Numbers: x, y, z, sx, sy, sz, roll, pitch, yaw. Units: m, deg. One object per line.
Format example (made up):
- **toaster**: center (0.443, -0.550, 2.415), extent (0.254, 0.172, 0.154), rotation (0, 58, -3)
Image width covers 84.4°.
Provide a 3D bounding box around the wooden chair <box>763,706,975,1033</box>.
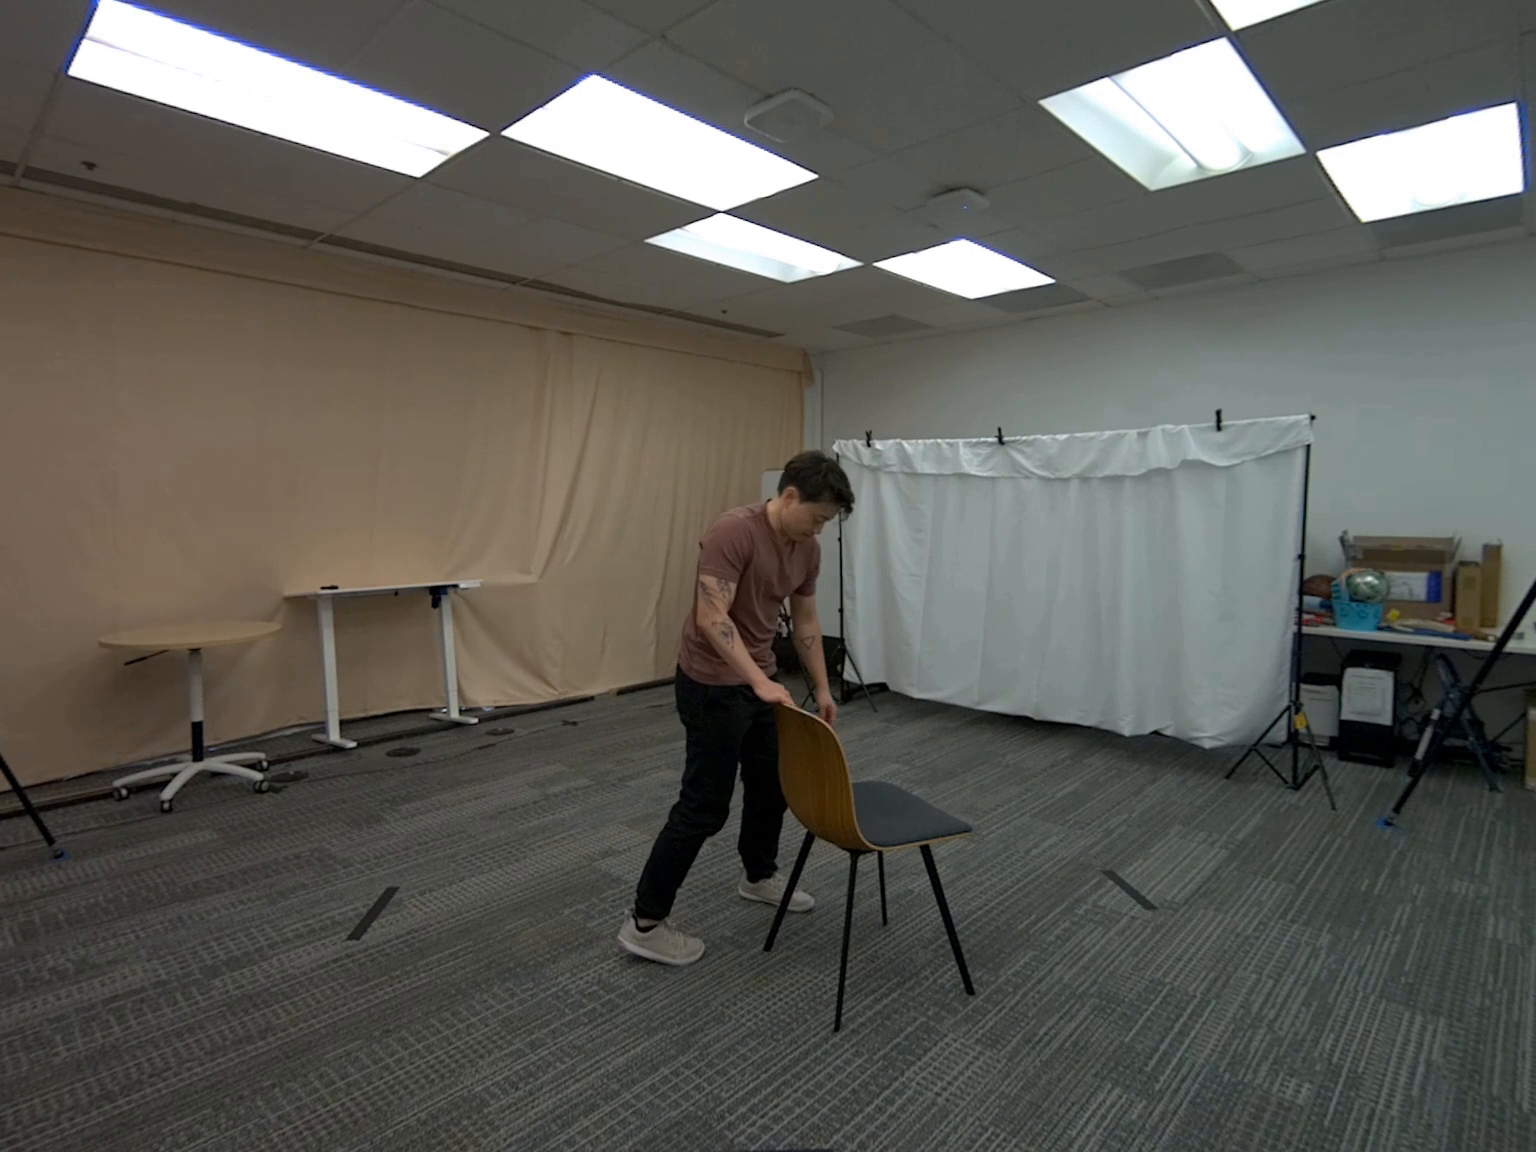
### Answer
- **wooden chair**: center (0.303, 0.760, 2.489), extent (0.512, 0.874, 0.490), rotation (-6, 5, -24)
